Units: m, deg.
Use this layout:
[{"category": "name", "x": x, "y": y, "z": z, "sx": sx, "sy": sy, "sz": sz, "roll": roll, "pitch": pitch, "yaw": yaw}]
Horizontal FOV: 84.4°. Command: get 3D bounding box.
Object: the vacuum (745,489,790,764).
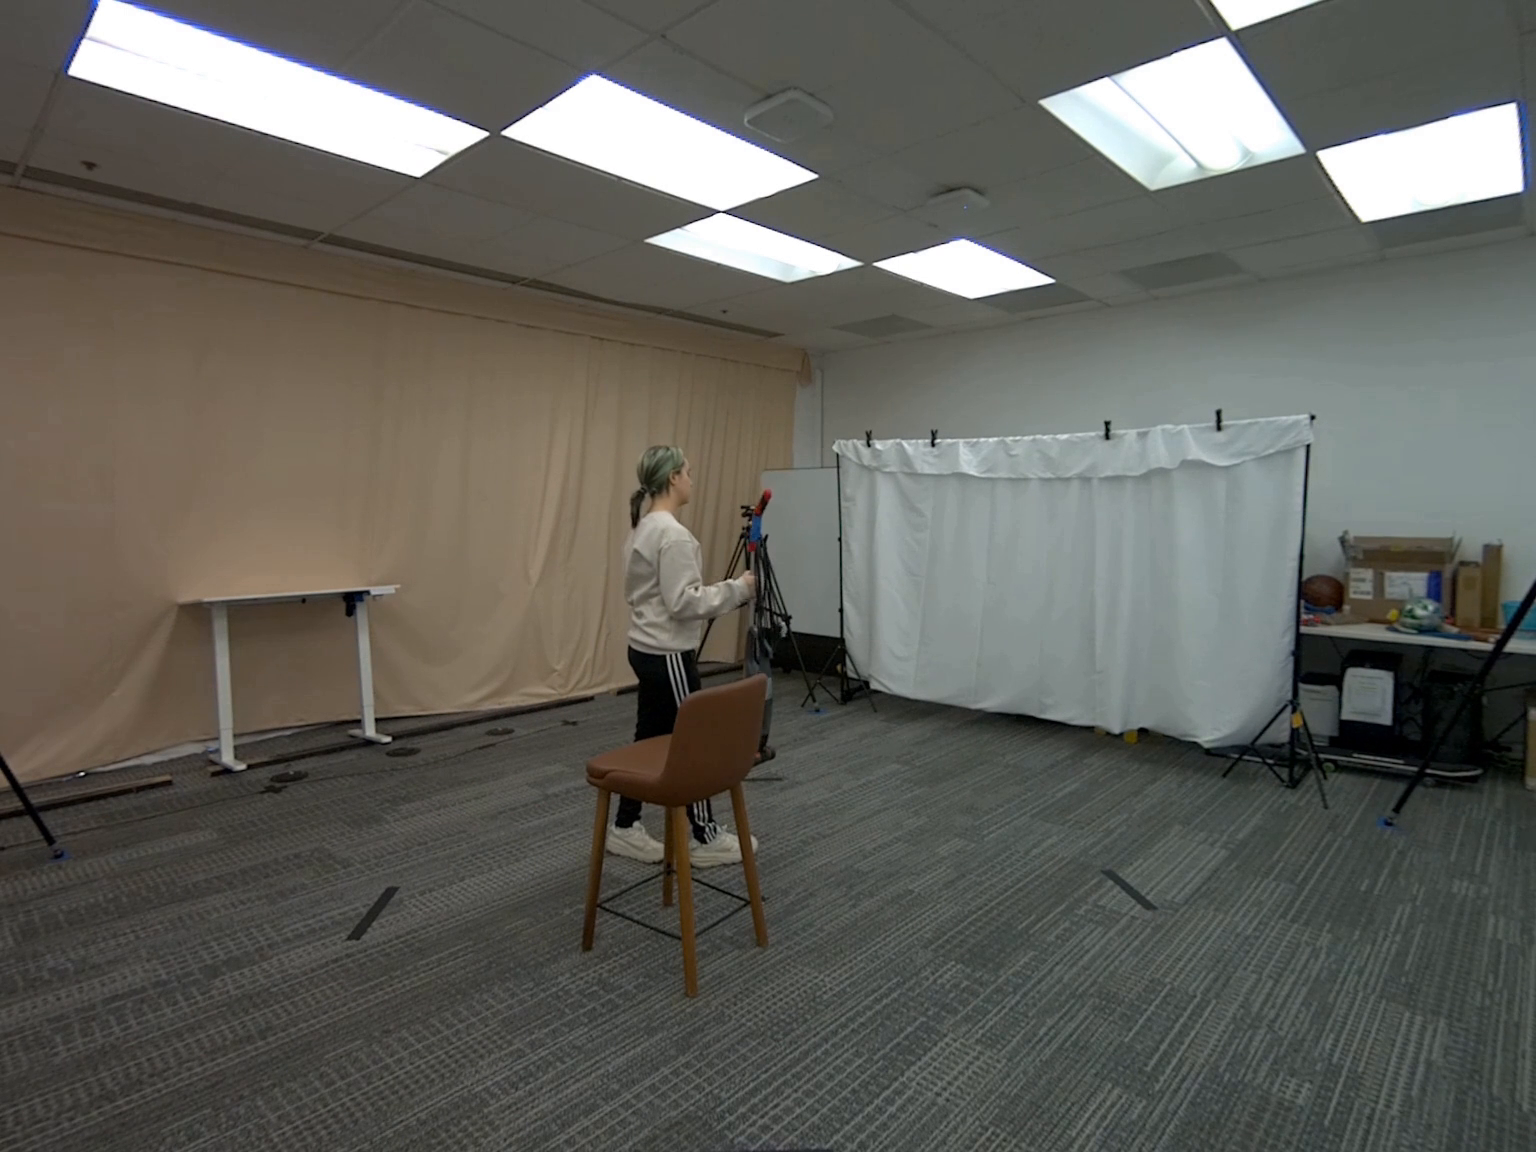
[{"category": "vacuum", "x": -0.025, "y": 0.208, "z": 3.134, "sx": 0.245, "sy": 1.043, "sz": 0.149, "roll": -5, "pitch": 14, "yaw": -38}]
